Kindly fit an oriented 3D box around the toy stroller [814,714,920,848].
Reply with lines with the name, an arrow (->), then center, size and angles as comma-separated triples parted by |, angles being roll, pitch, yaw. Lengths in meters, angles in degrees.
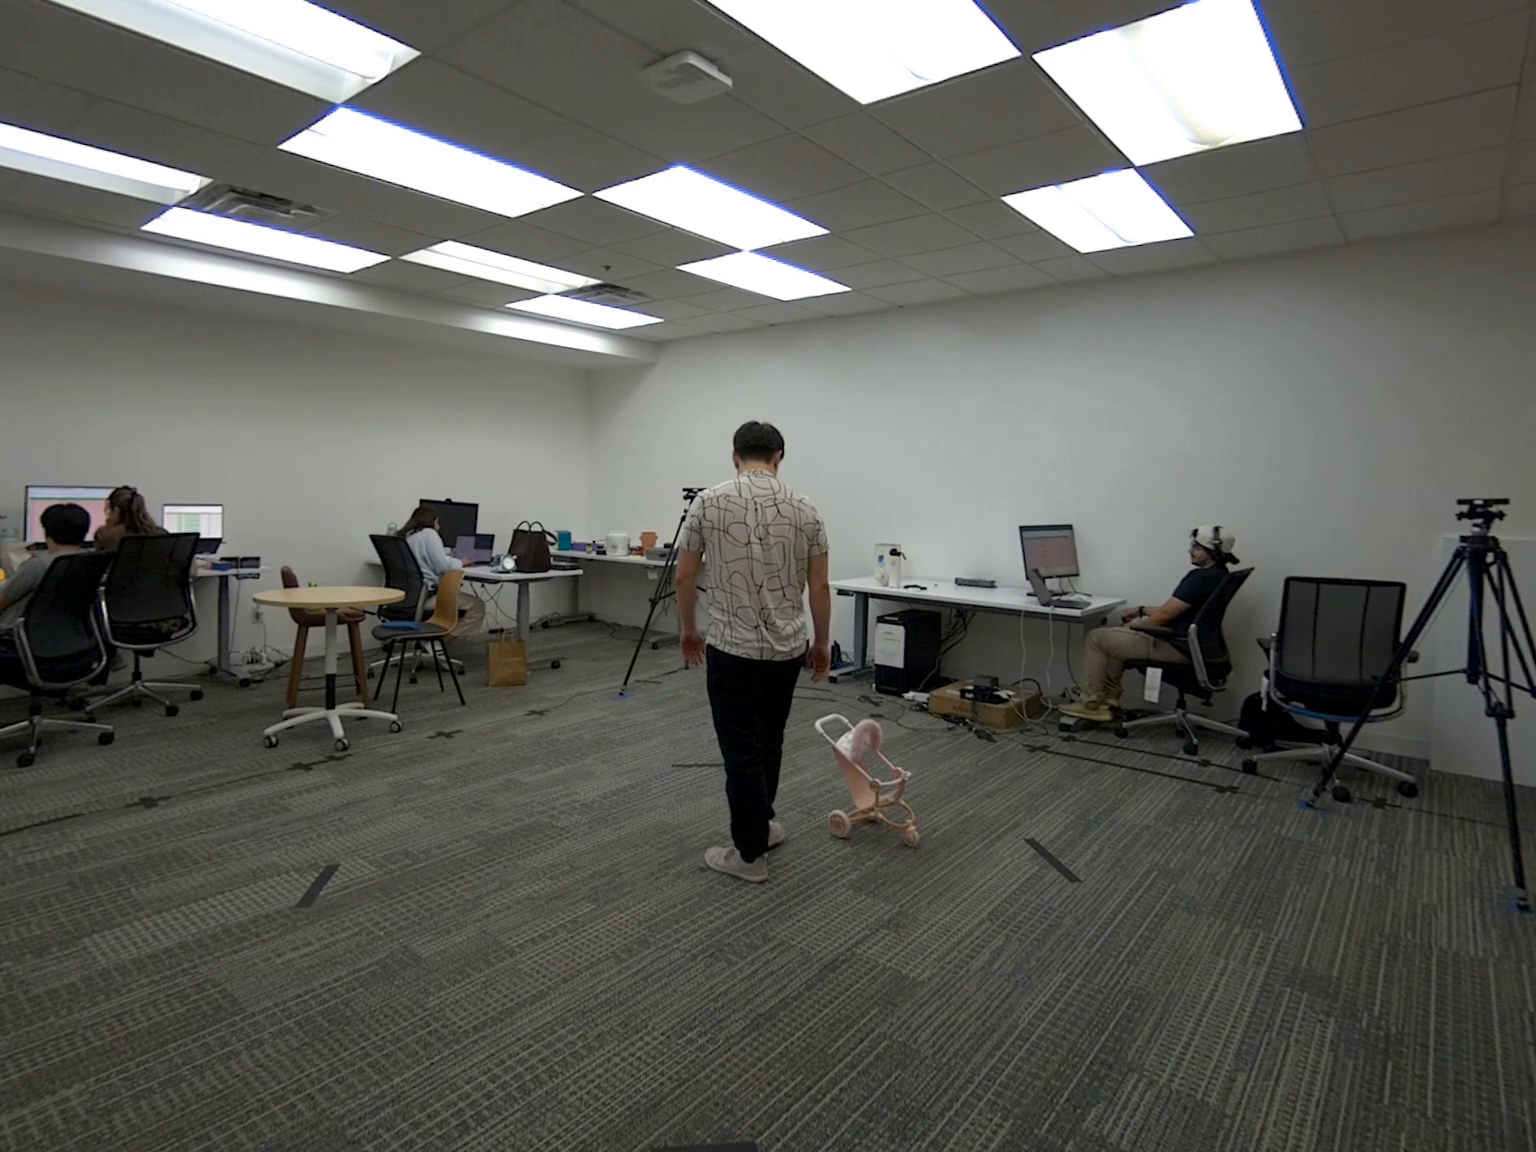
toy stroller -> 0.408, 0.822, 3.467 | 0.349, 0.540, 0.273 | -17, -9, 42
